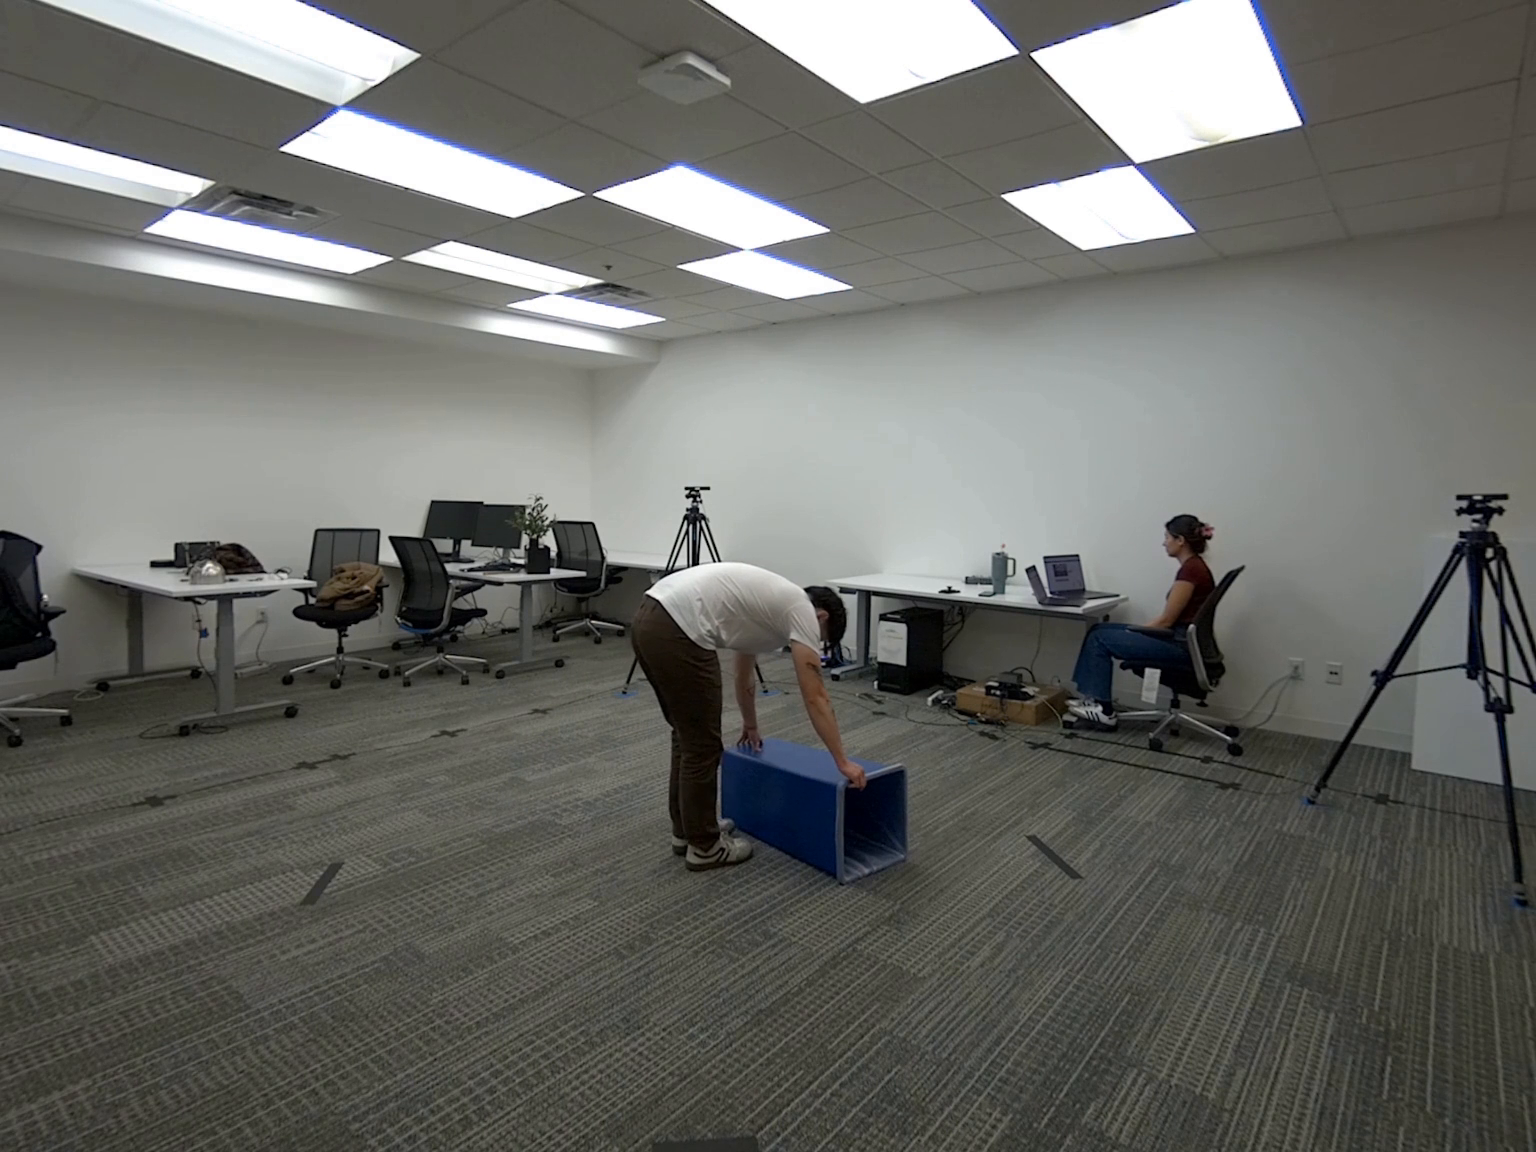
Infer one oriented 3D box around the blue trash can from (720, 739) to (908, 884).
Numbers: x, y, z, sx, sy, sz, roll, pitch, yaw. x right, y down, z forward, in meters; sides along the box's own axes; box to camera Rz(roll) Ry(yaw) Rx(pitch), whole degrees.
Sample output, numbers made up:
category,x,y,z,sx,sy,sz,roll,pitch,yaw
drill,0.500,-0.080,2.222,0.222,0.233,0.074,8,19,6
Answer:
category,x,y,z,sx,sy,sz,roll,pitch,yaw
blue trash can,0.152,0.877,3.374,0.363,0.377,0.737,-4,5,-40
